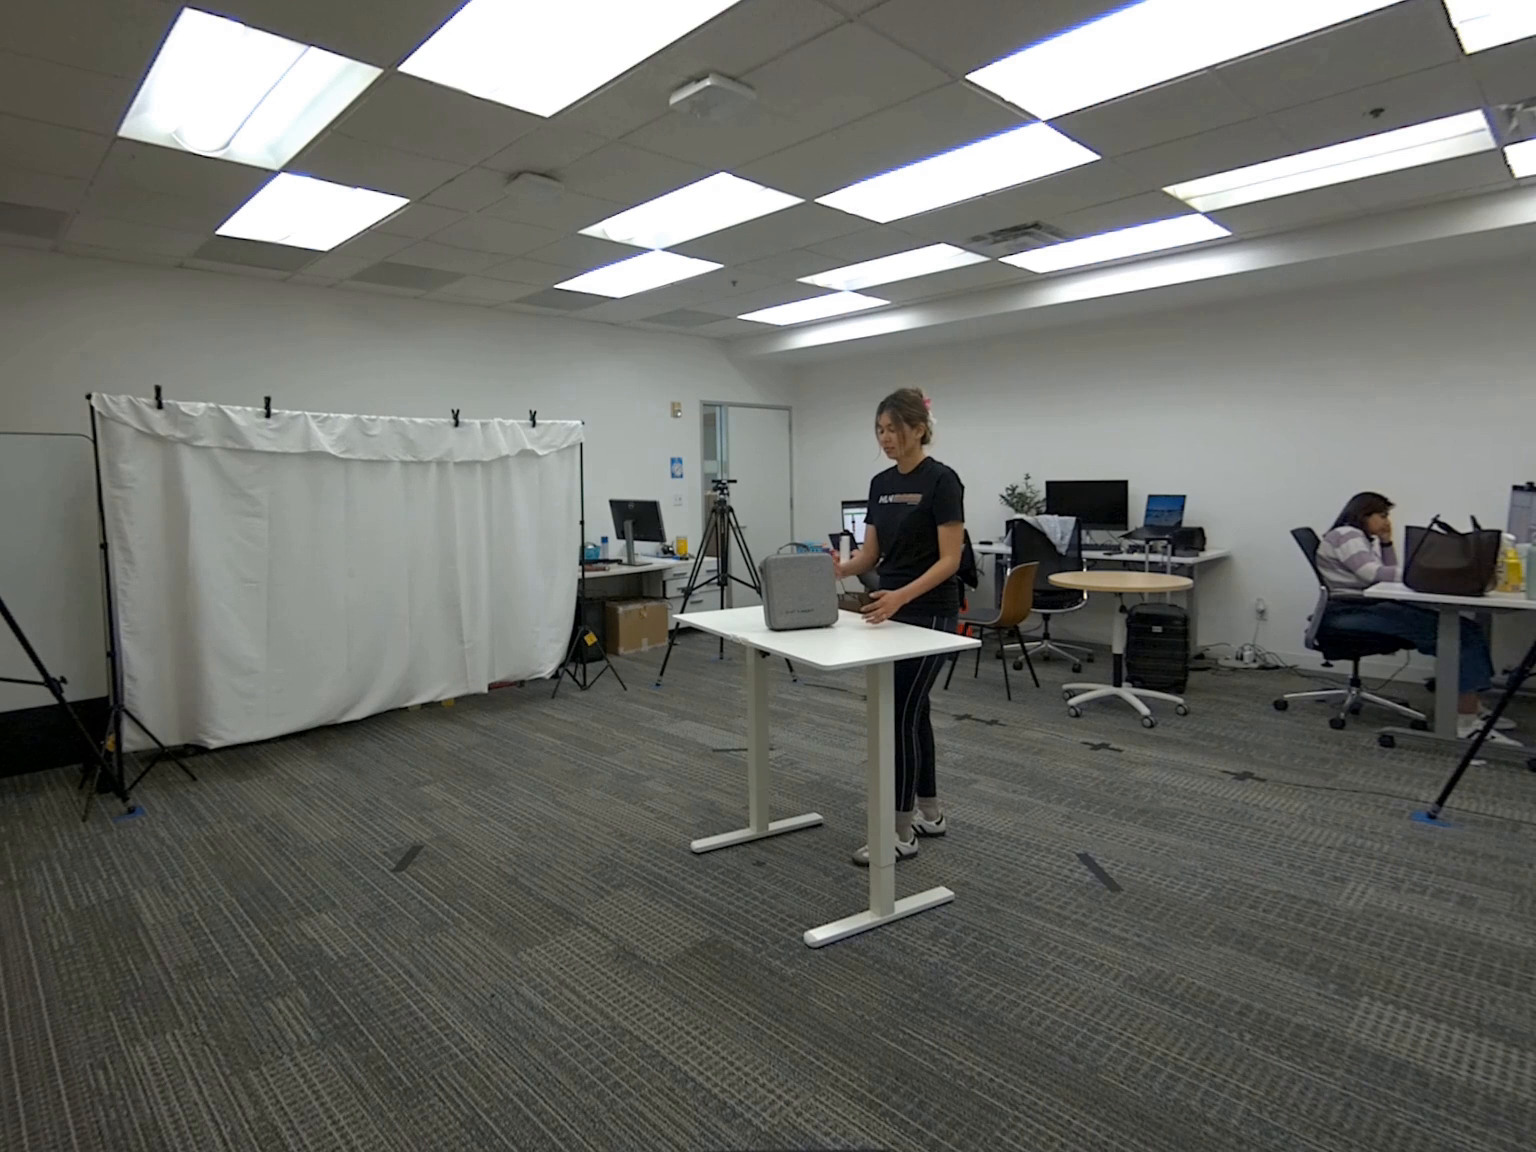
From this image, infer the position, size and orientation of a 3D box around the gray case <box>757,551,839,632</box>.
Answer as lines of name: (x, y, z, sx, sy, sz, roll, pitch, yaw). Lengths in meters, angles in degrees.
gray case: (0.108, 0.049, 2.956, 0.253, 0.262, 0.105, -3, -5, -16)
